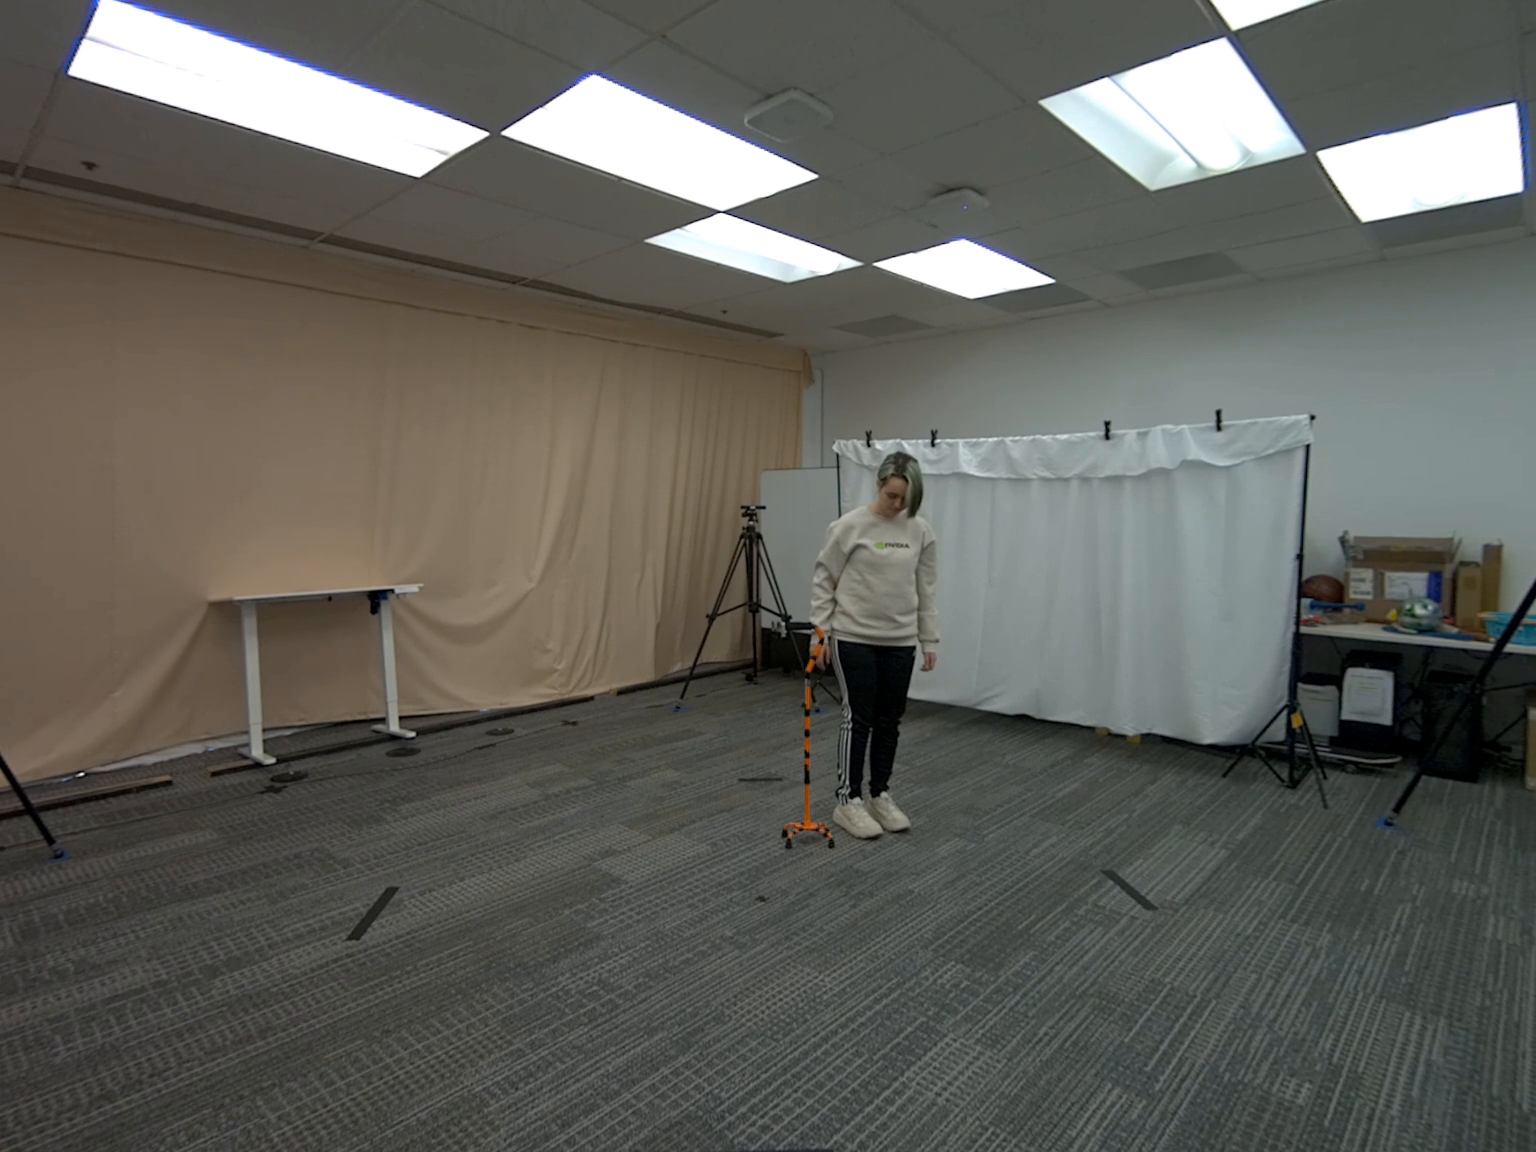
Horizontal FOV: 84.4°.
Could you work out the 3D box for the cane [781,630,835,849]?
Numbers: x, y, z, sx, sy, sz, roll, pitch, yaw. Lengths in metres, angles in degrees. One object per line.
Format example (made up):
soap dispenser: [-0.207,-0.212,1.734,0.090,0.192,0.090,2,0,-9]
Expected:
cane: [0.168,0.651,3.473,0.205,0.907,0.152,1,1,-4]
